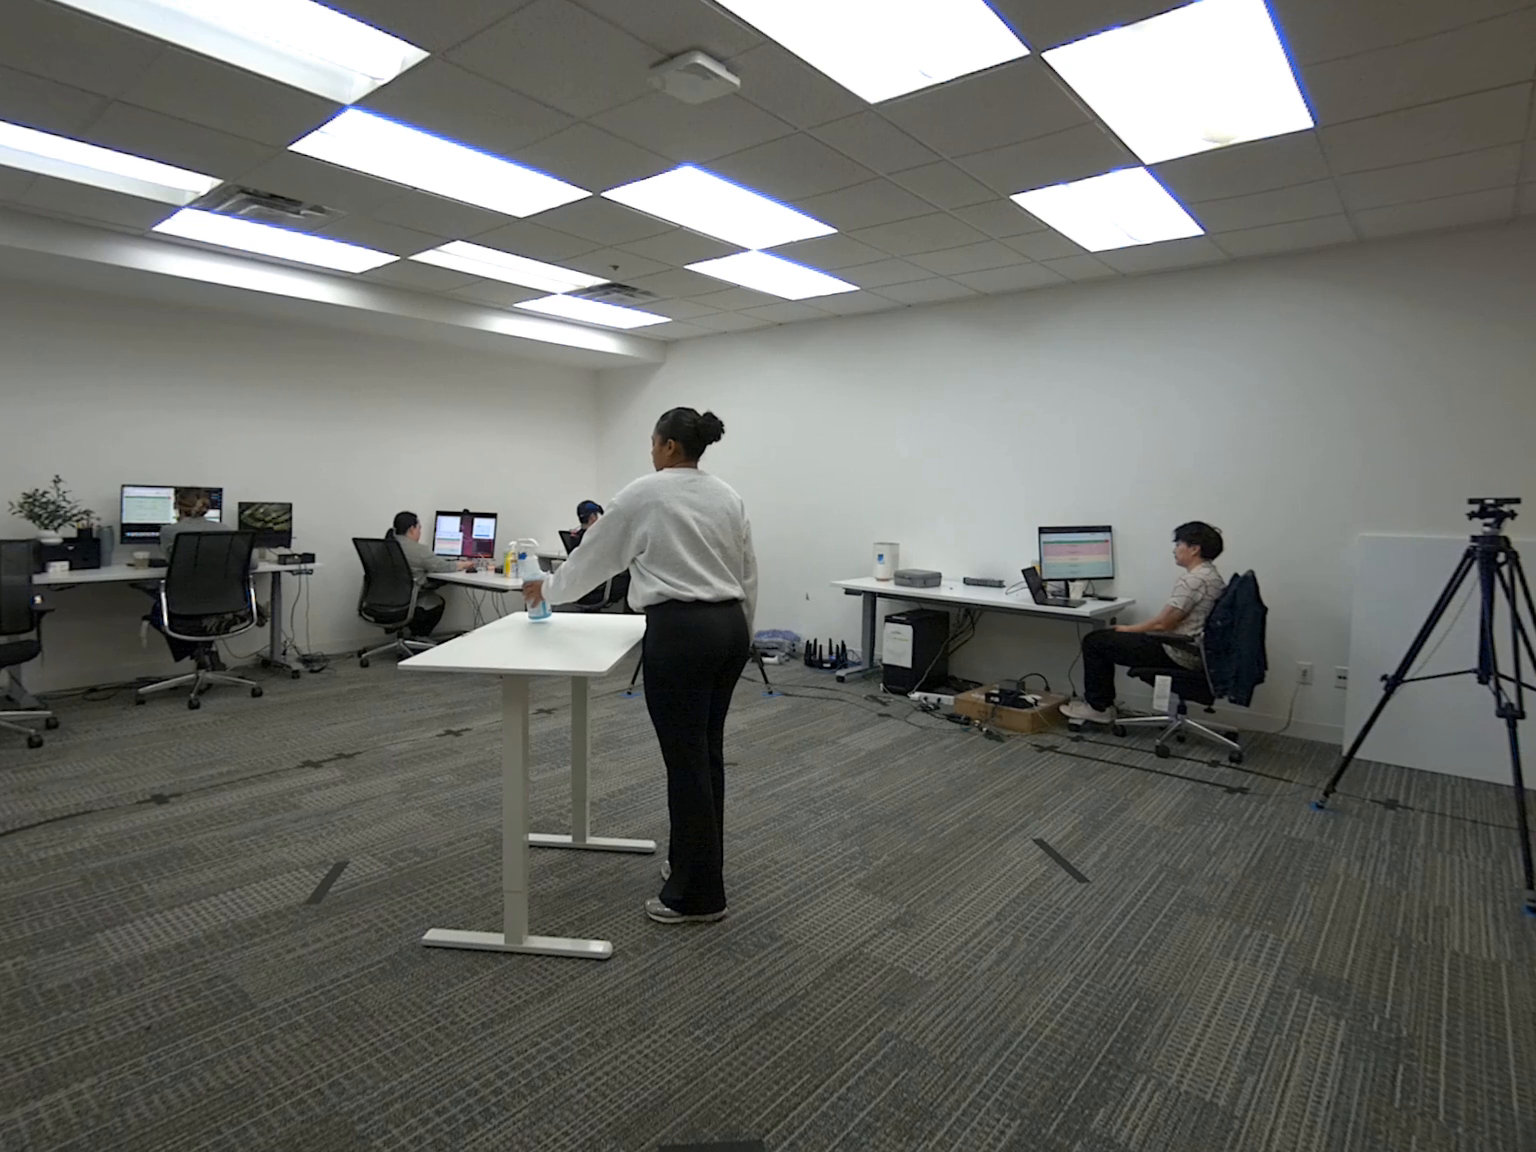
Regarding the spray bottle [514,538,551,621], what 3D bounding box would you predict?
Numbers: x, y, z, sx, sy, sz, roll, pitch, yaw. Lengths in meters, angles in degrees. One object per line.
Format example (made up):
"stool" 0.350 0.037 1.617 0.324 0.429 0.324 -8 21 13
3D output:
"spray bottle" -0.873 0.007 3.114 0.085 0.295 0.093 -13 10 -42
